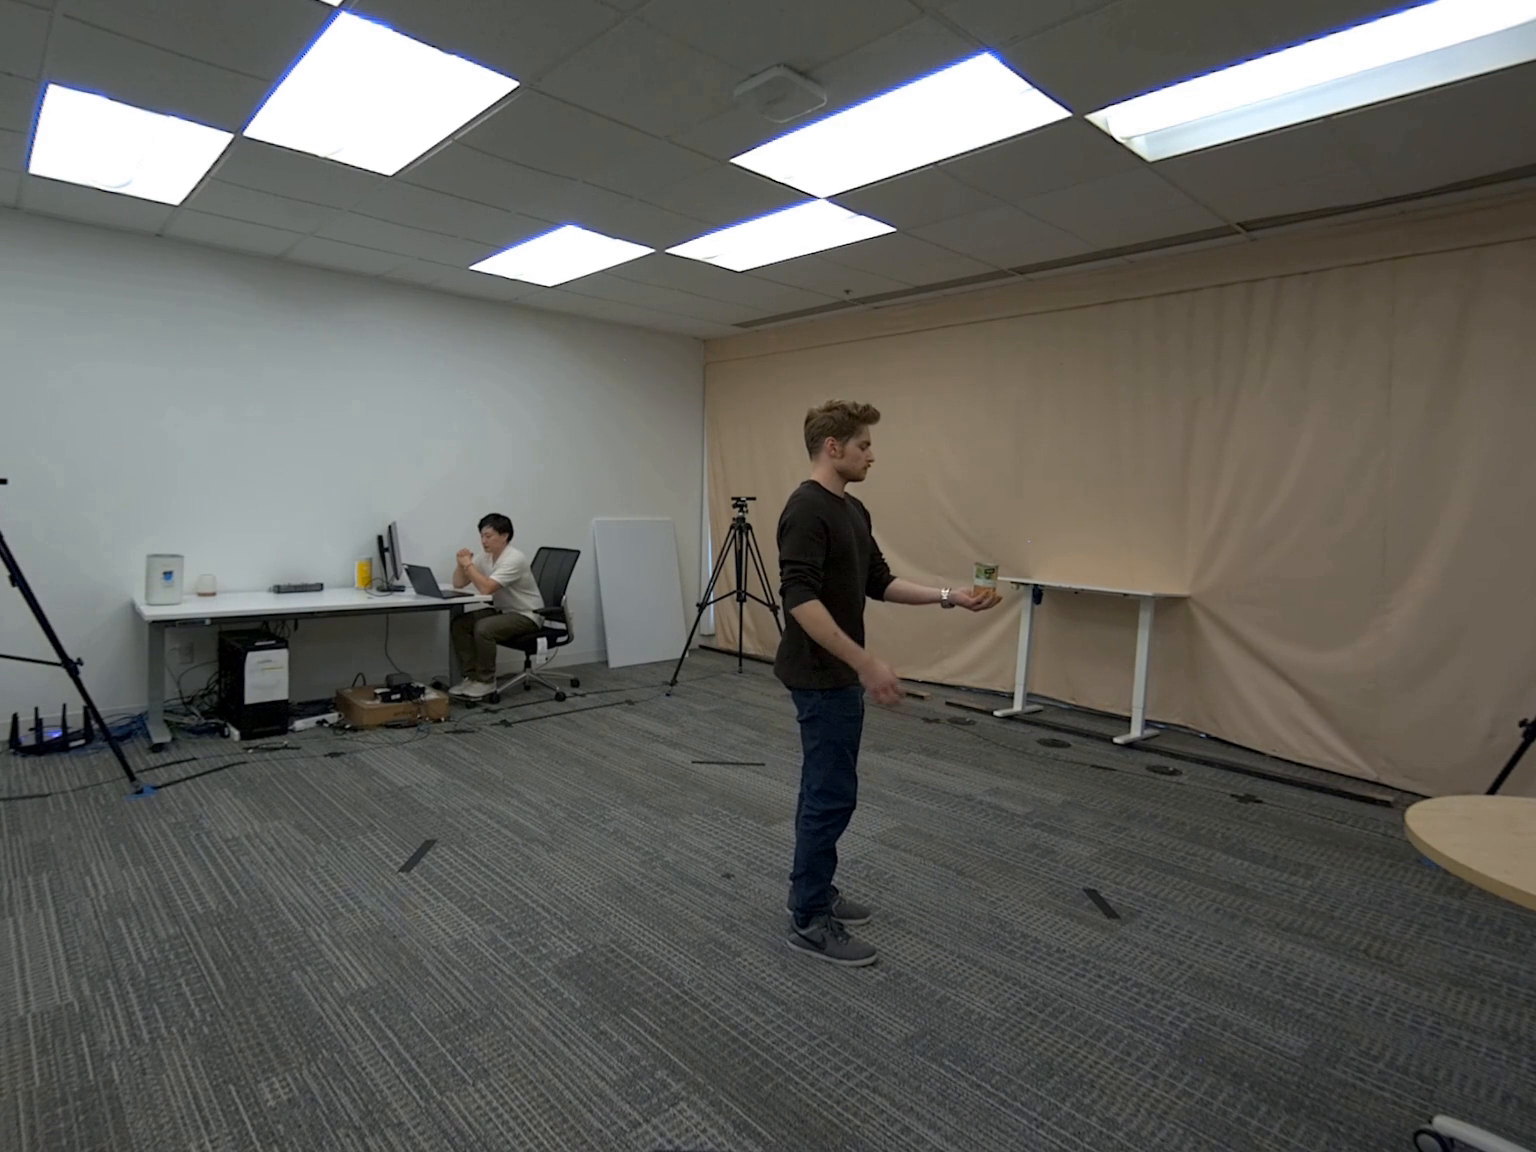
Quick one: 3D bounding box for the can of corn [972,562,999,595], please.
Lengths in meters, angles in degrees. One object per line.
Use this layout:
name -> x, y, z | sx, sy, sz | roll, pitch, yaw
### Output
can of corn -> 0.672, 0.018, 2.637 | 0.074, 0.110, 0.074 | 5, 6, -2
